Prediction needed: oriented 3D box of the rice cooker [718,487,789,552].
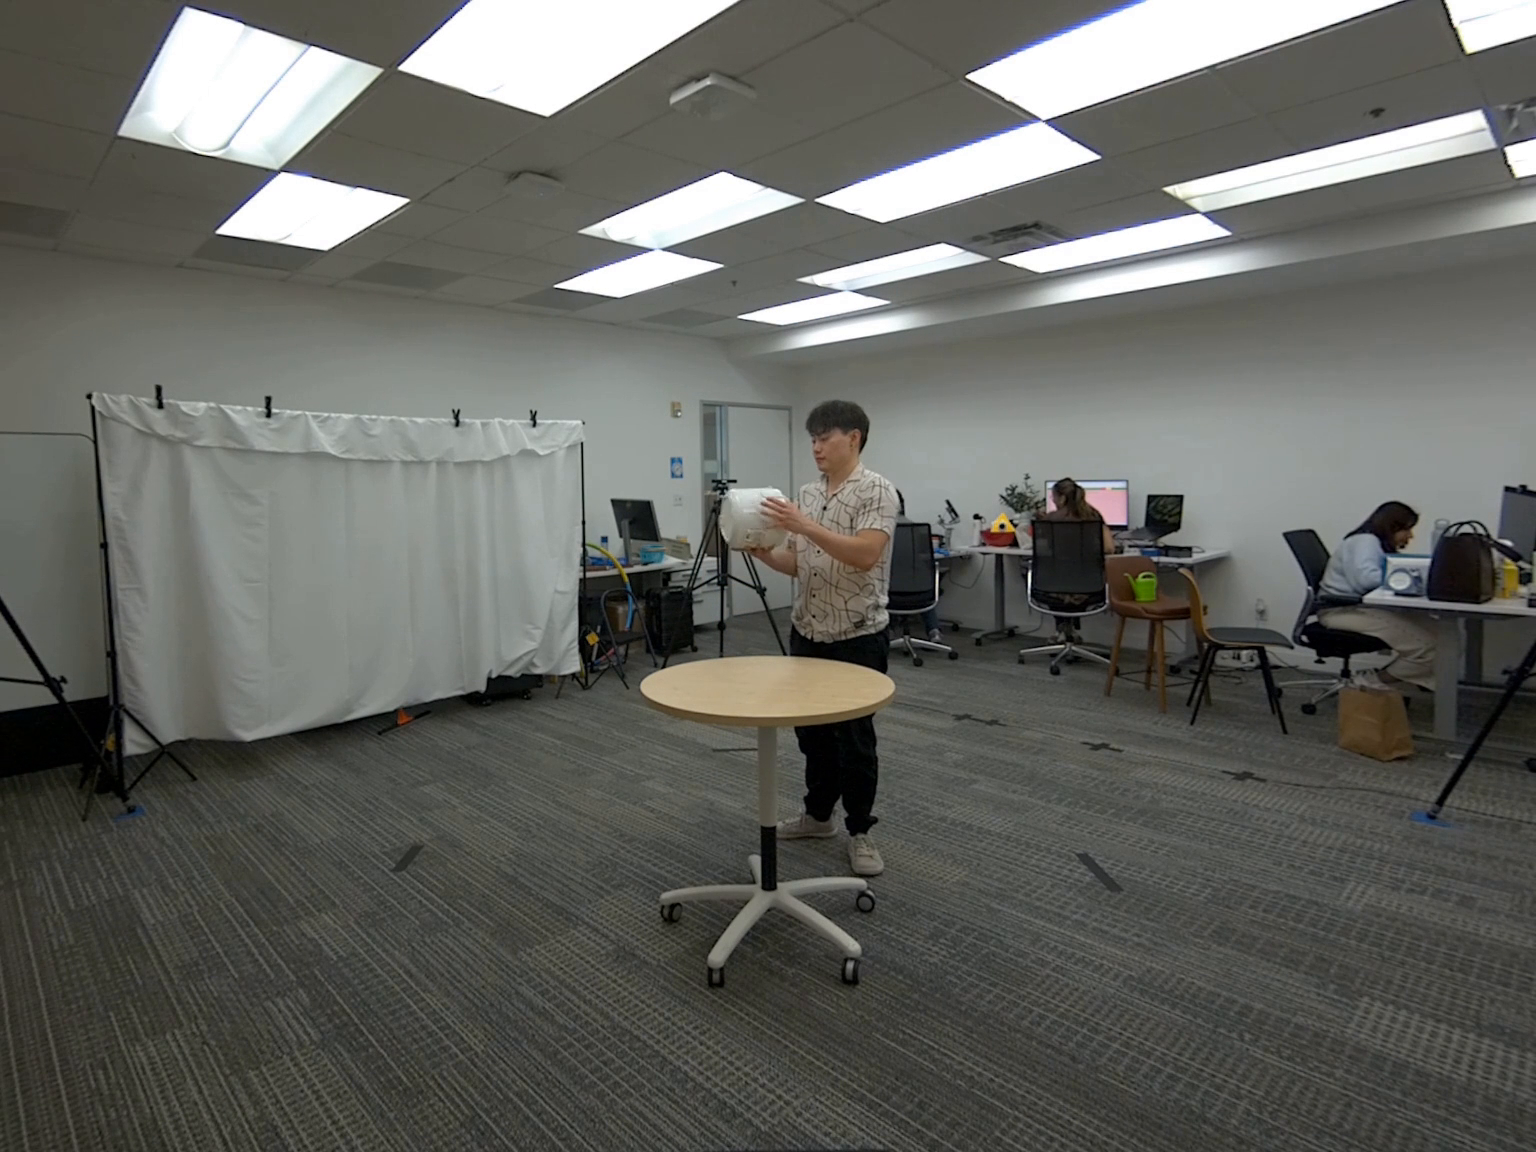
[{"bbox_3d":[-0.030,-0.203,2.990,0.230,0.216,0.225,-2,38,-15],"label":"rice cooker"}]
